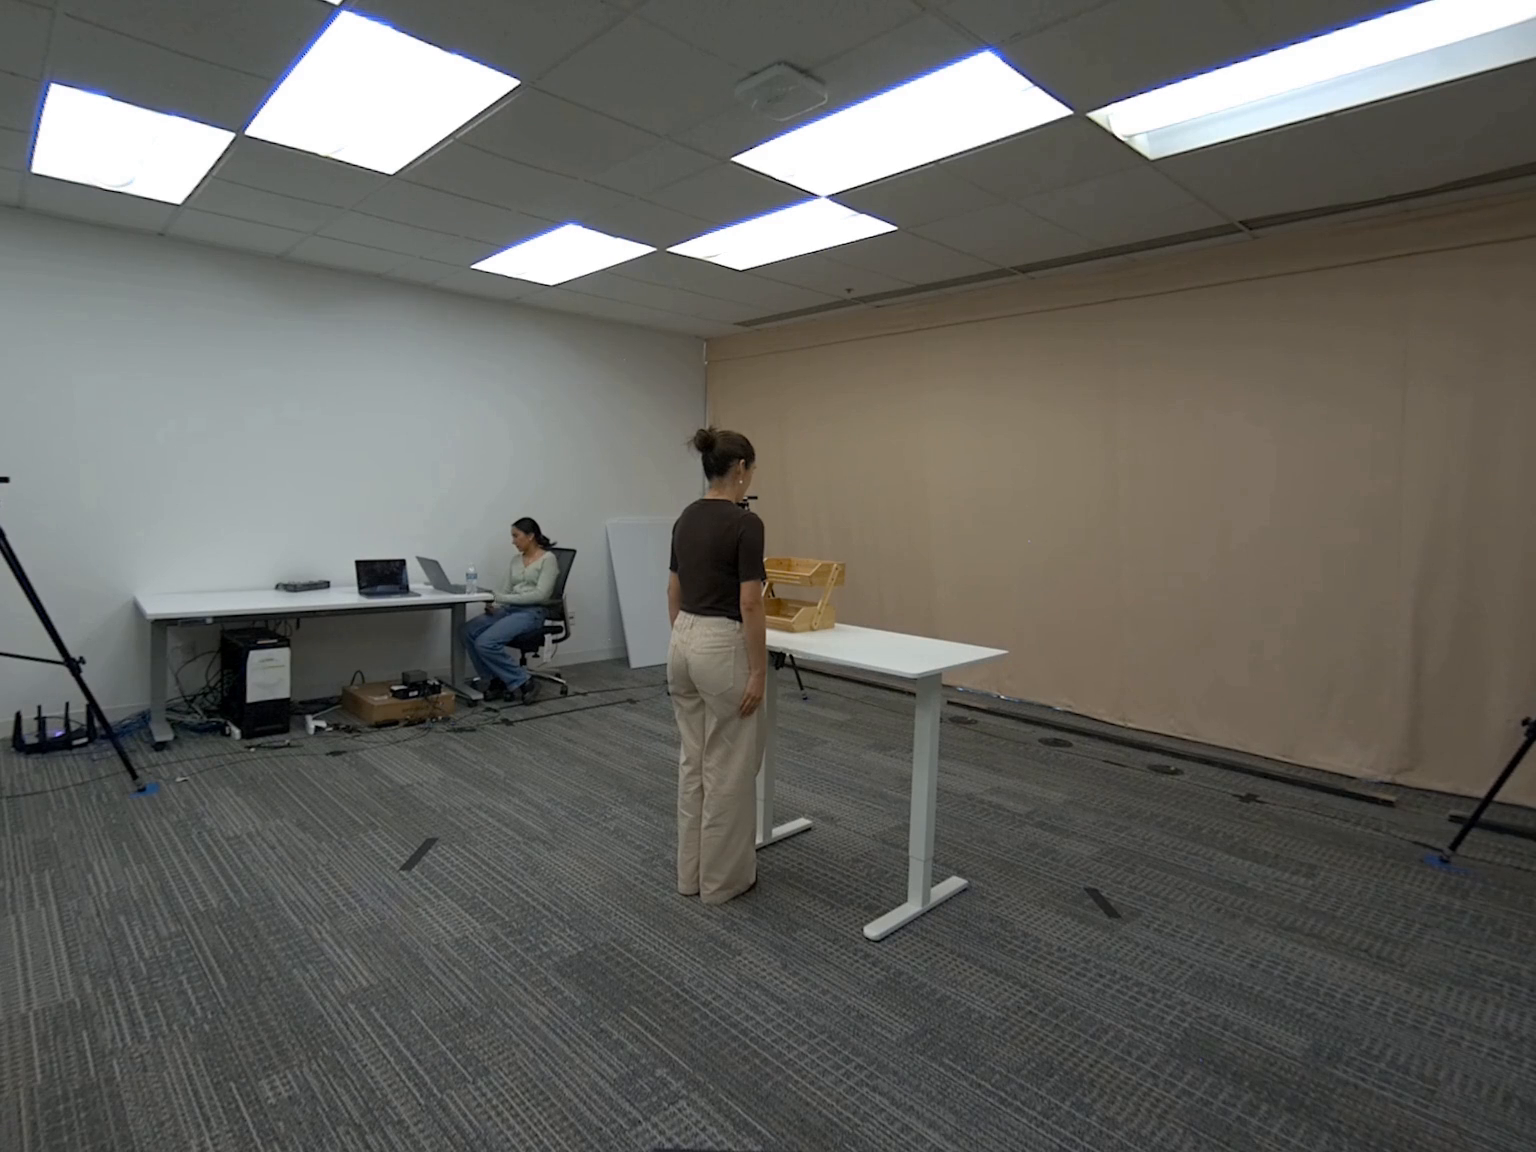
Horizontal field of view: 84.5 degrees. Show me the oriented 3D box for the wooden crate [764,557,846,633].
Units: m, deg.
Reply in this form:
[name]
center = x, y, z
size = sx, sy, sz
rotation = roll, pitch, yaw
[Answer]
[wooden crate]
center = 0.087, 0.065, 3.380
size = 0.333, 0.273, 0.295
rotation = 6, 5, 44
